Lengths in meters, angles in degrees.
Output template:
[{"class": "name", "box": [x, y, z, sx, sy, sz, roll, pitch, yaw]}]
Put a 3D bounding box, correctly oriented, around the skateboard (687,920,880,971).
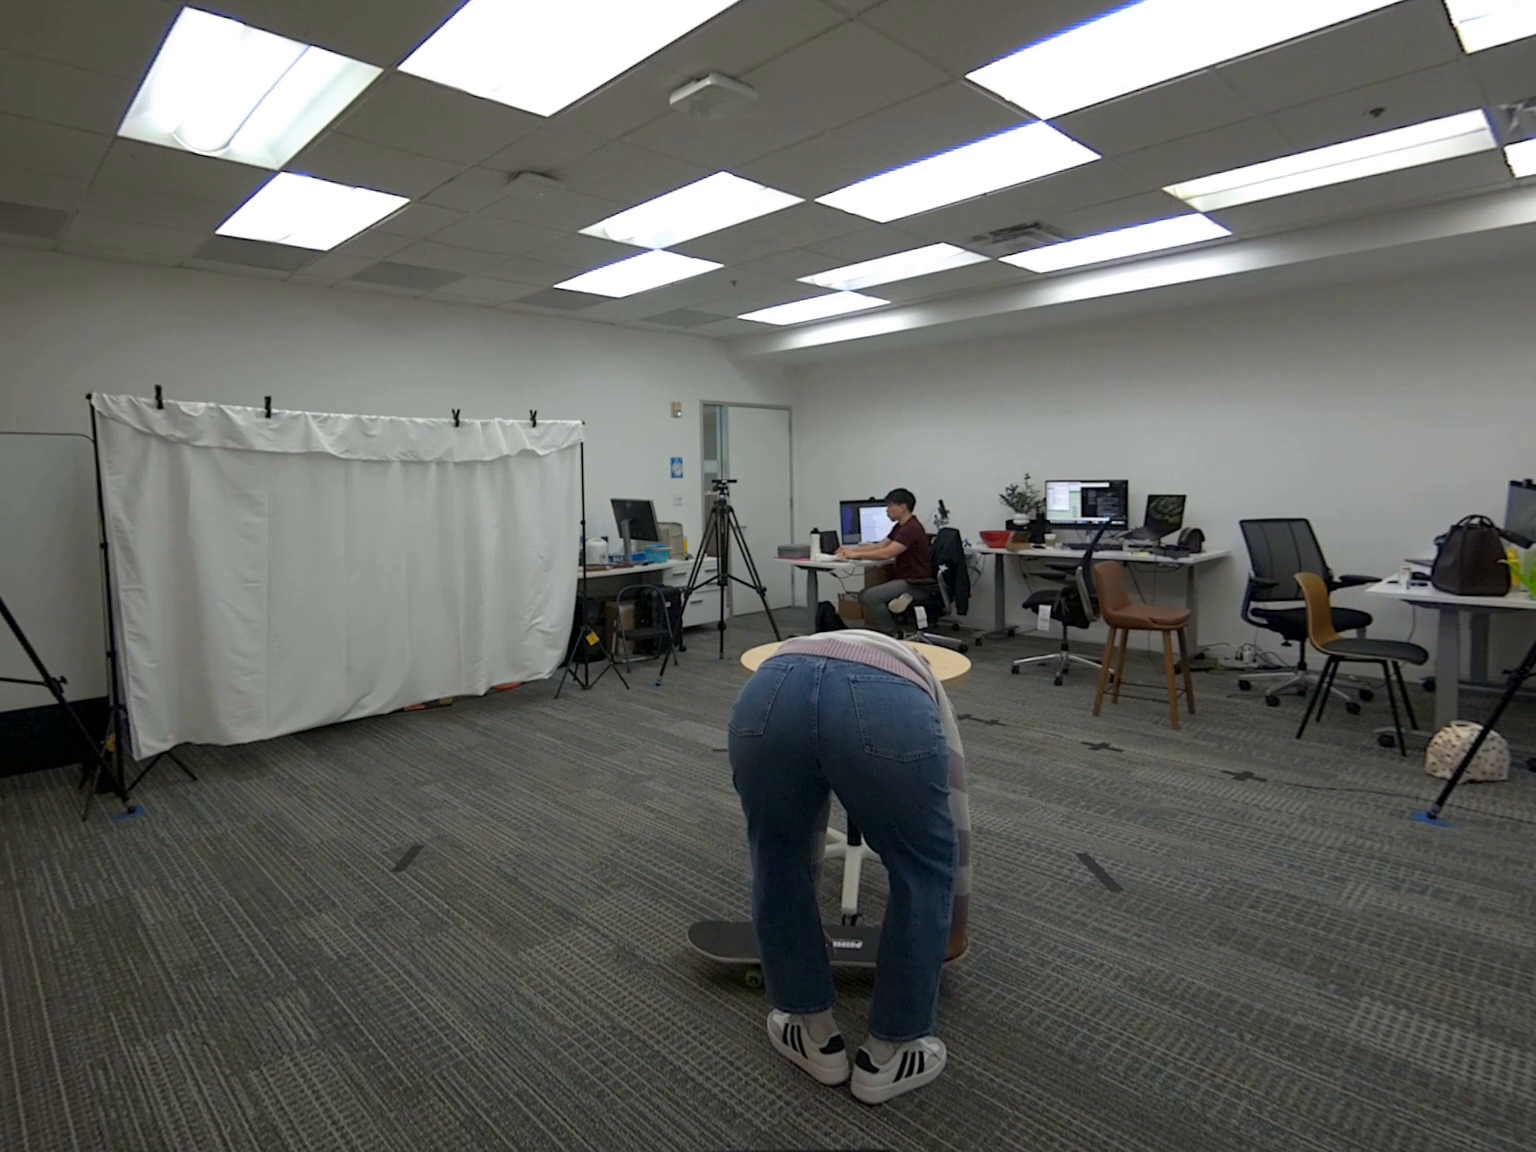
[{"class": "skateboard", "box": [0.170, 1.064, 2.419, 0.790, 0.110, 0.193, 0, 5, 5]}]
